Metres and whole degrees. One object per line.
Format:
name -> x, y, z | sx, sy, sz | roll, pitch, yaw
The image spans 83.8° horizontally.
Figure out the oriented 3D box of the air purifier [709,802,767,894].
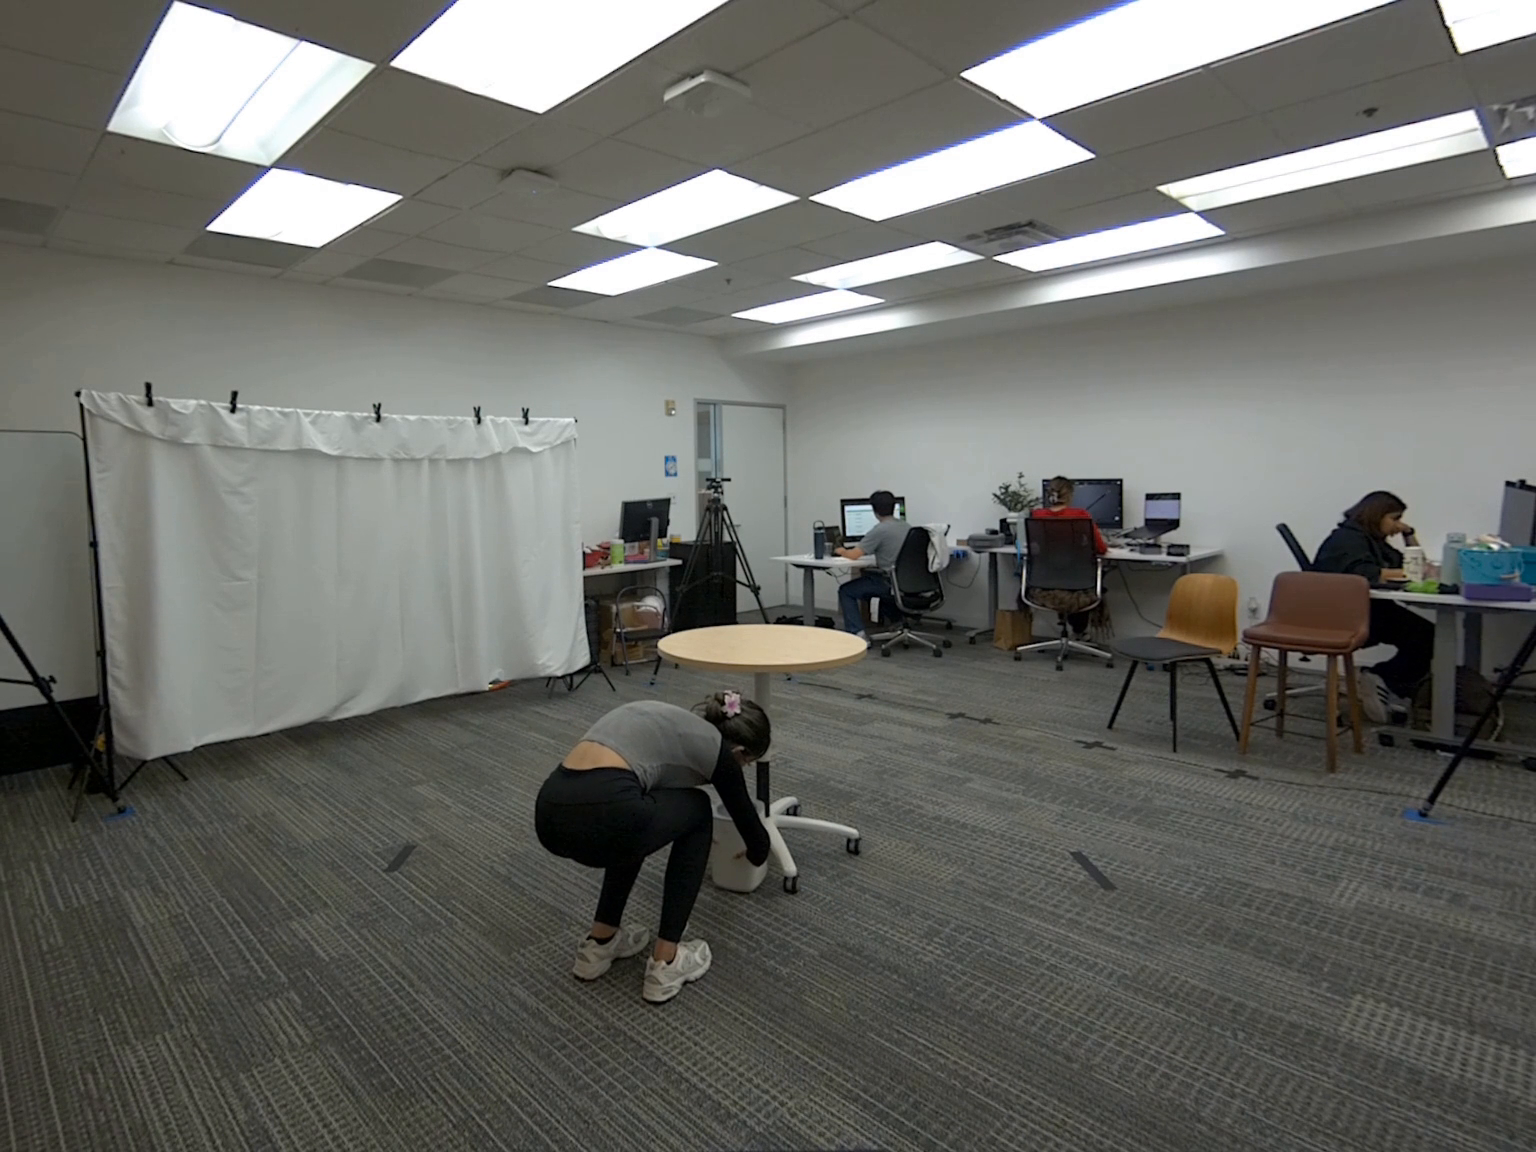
air purifier -> -0.096, 0.926, 2.941 | 0.175, 0.264, 0.169 | -1, 5, 24
